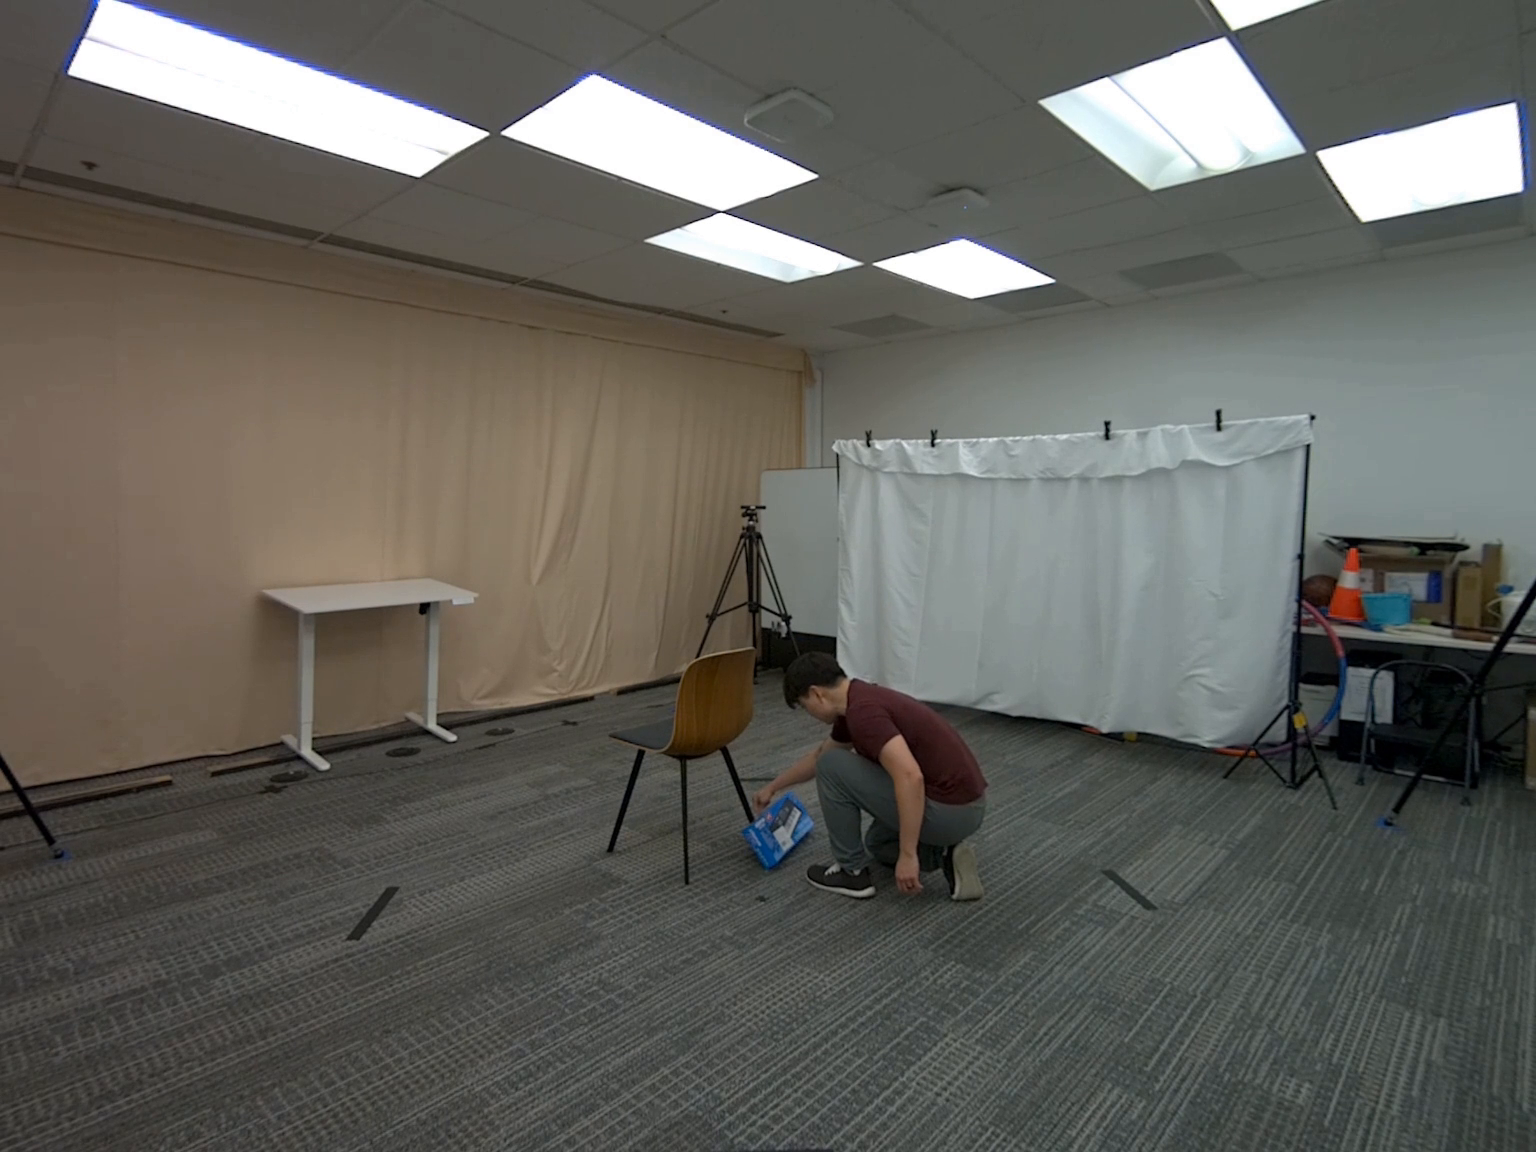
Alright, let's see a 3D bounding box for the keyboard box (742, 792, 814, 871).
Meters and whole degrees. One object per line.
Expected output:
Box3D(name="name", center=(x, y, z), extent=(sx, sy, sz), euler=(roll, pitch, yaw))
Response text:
Box3D(name="keyboard box", center=(0.054, 1.024, 3.422), extent=(0.059, 0.178, 0.427), euler=(-40, -11, 20))
